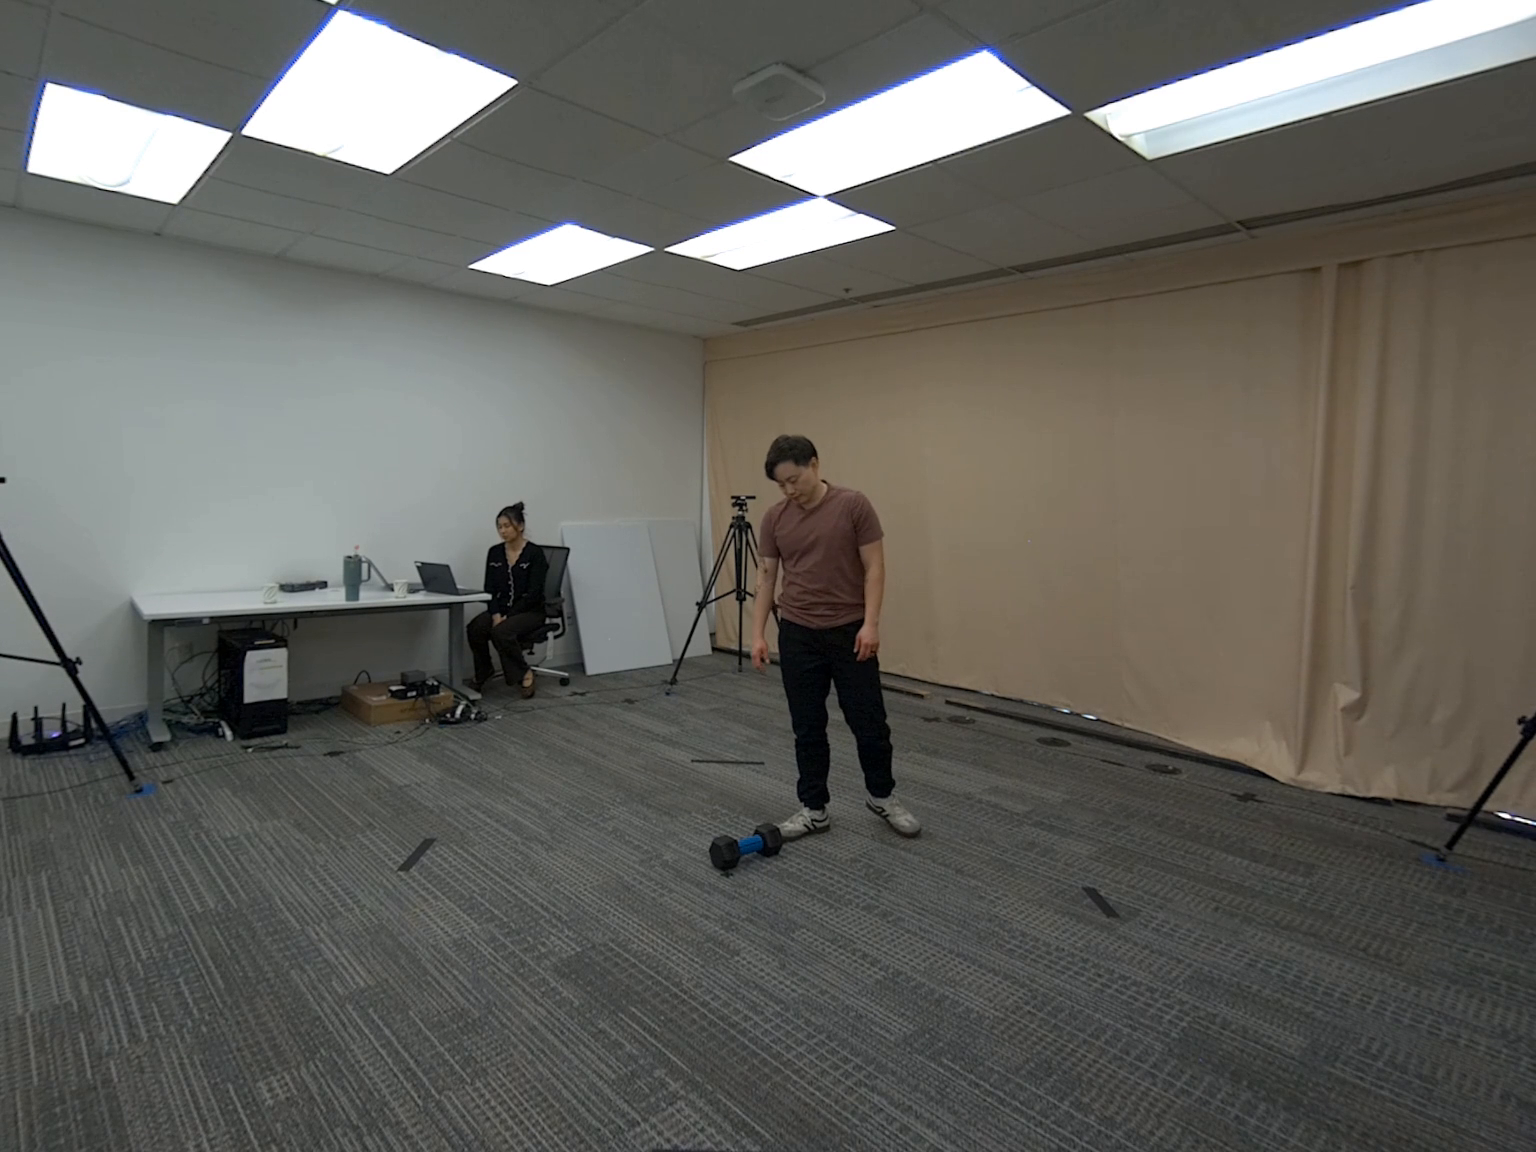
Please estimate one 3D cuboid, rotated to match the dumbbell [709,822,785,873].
[{"bbox_3d":[-0.088,1.037,3.230,0.287,0.125,0.109,-3,-24,-39],"label":"dumbbell"}]
